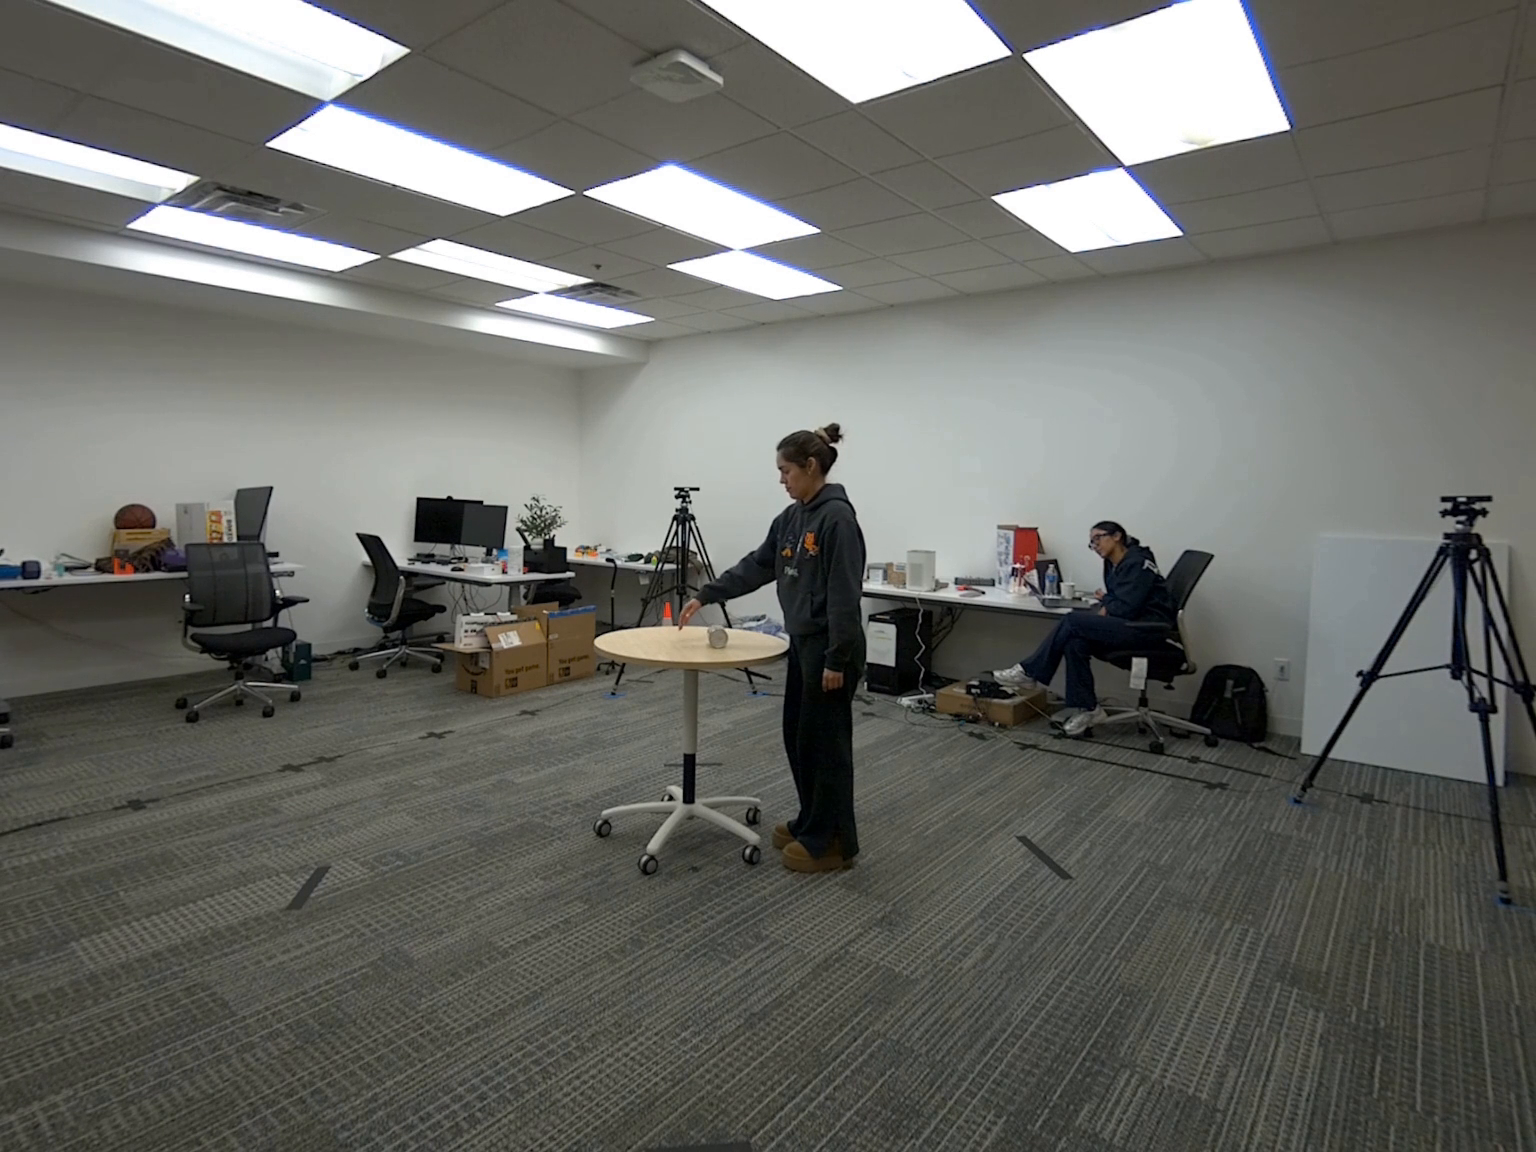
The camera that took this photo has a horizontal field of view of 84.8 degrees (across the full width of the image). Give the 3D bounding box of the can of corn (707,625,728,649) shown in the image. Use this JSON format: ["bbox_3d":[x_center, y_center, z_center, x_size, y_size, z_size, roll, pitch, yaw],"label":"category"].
[{"bbox_3d":[-0.196,0.229,3.298,0.073,0.073,0.113,-1,9,-9],"label":"can of corn"}]
